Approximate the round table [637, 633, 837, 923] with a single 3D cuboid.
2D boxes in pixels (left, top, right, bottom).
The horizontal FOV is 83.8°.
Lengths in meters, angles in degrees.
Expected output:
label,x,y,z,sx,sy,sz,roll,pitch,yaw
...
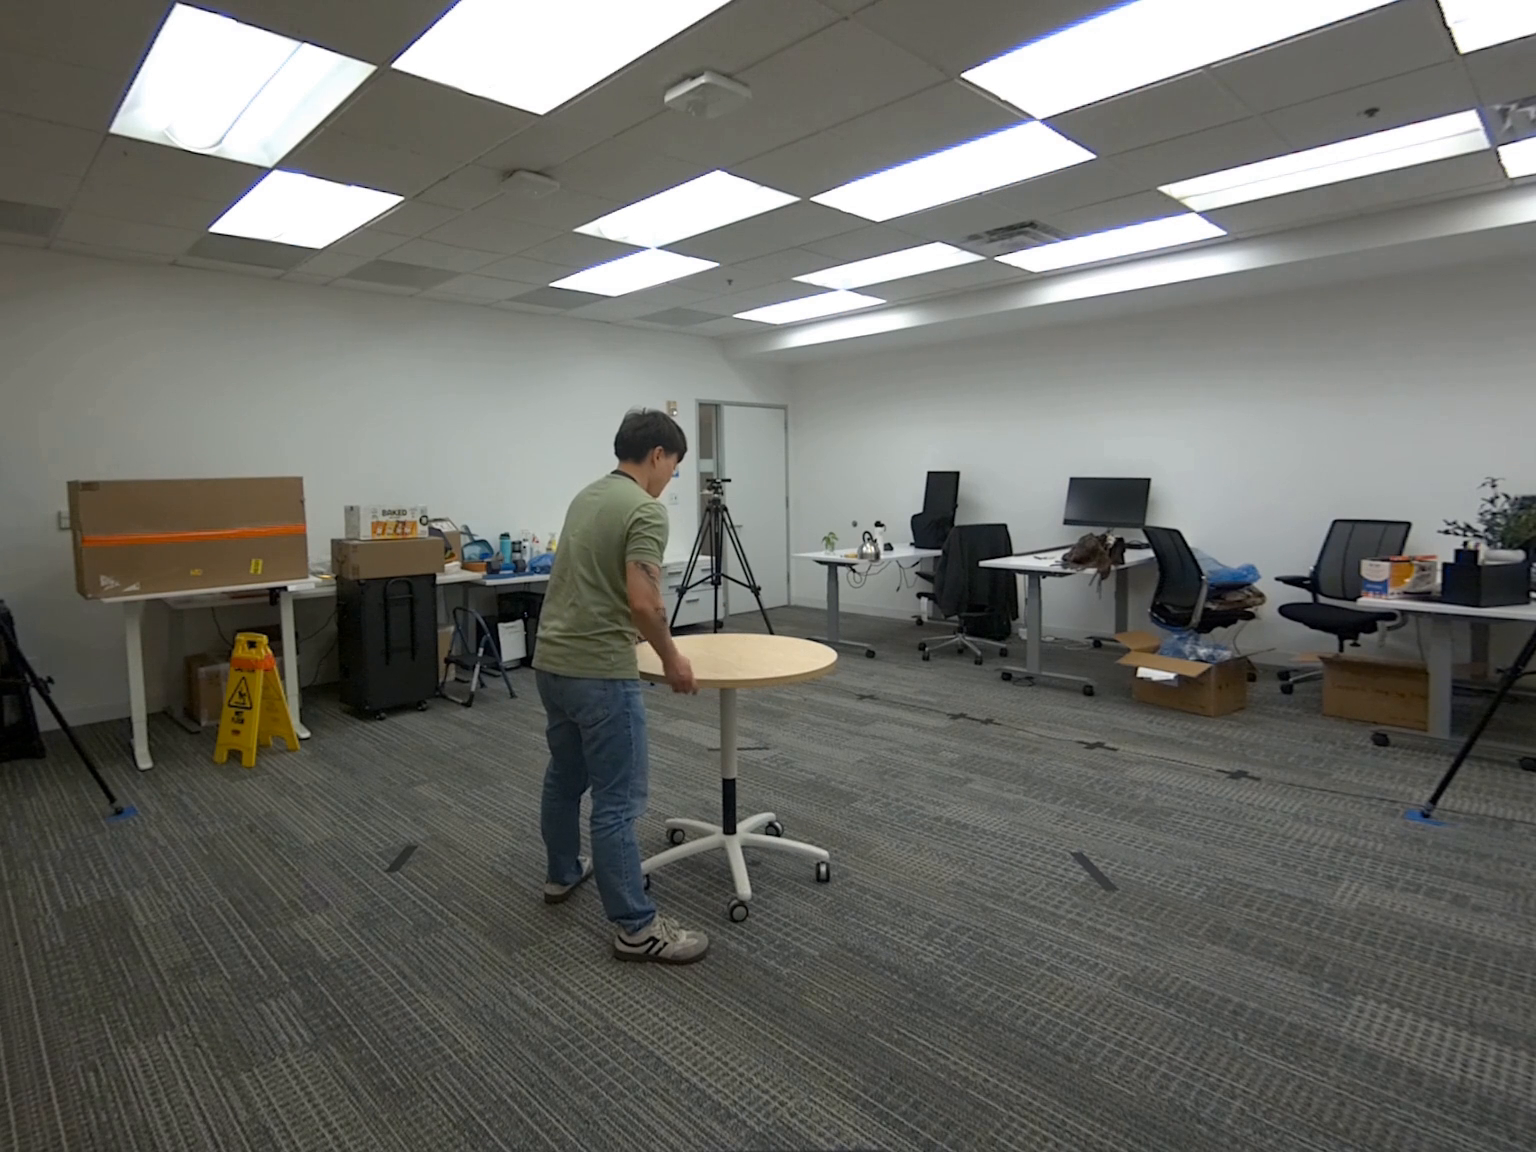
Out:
label,x,y,z,sx,sy,sz,roll,pitch,yaw
round table,-0.132,0.666,3.024,0.763,0.791,0.768,-1,5,-2
